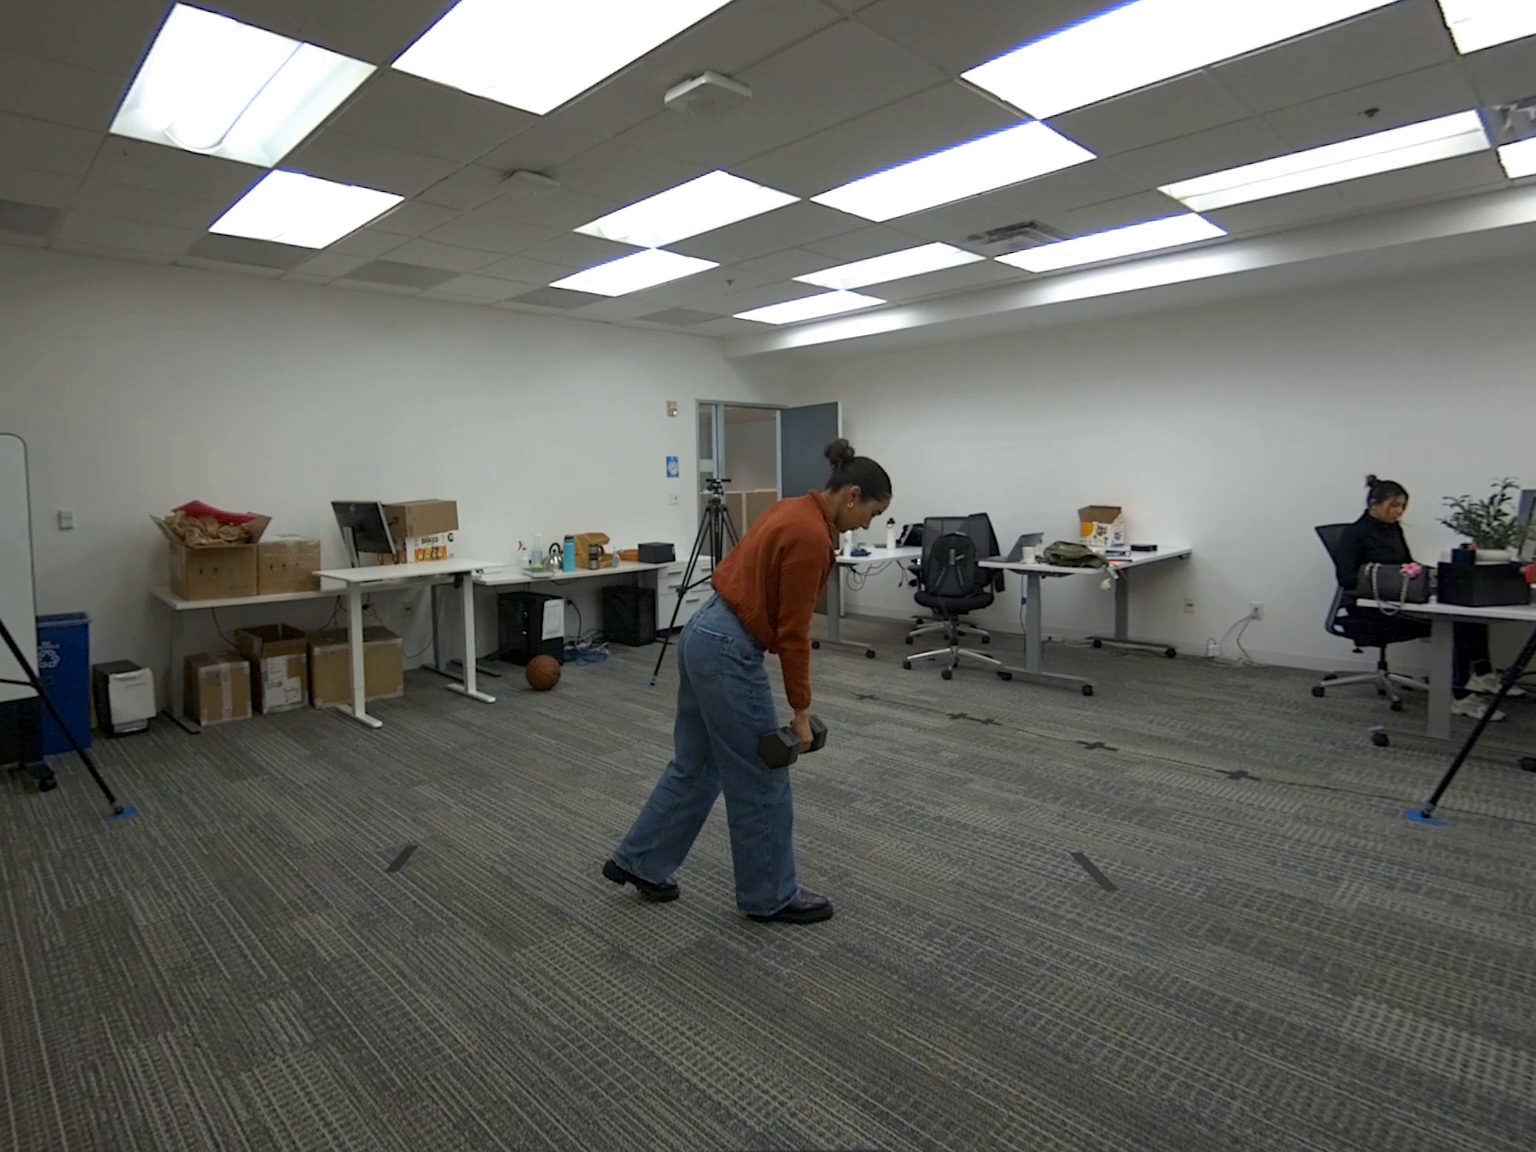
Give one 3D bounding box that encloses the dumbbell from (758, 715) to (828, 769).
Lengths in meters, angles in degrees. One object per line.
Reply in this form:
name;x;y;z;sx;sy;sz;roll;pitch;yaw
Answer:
dumbbell;0.078;0.505;2.591;0.112;0.122;0.286;14;8;27
